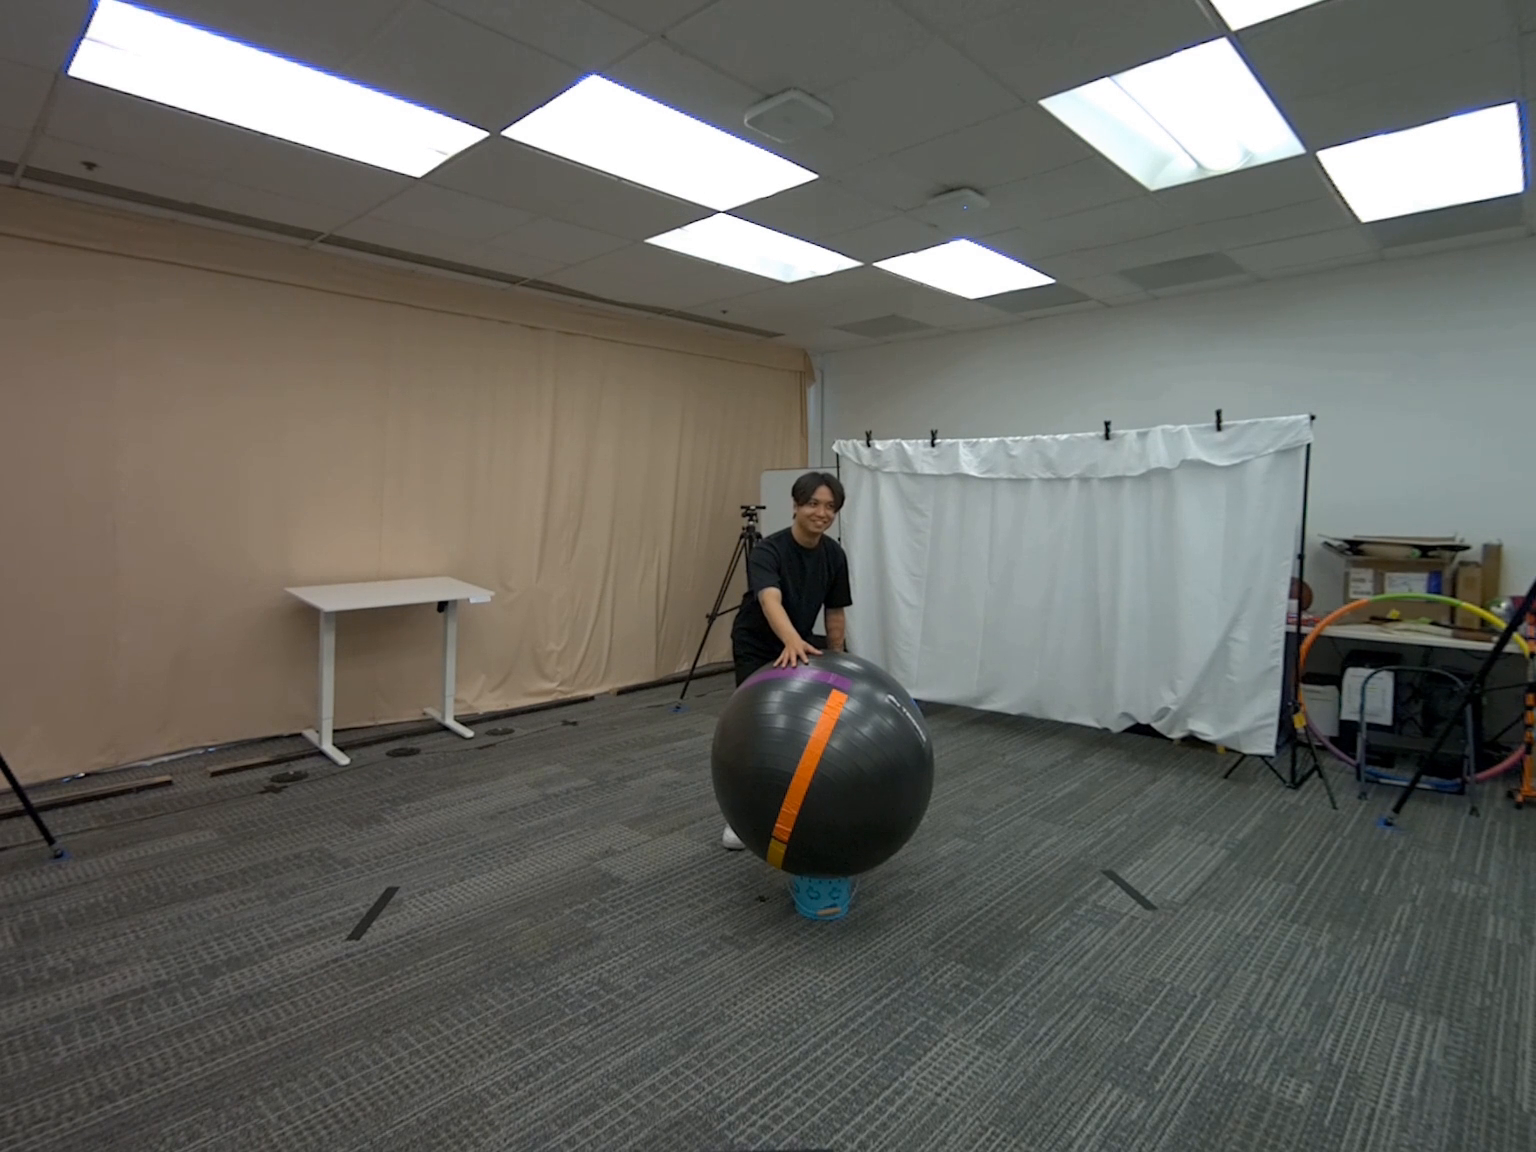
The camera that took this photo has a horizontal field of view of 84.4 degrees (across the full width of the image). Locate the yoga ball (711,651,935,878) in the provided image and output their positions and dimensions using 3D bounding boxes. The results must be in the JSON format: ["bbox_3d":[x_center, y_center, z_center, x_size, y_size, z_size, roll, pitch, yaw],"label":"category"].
[{"bbox_3d":[0.188,0.646,2.888,0.757,0.756,0.760,0,4,-2],"label":"yoga ball"}]
